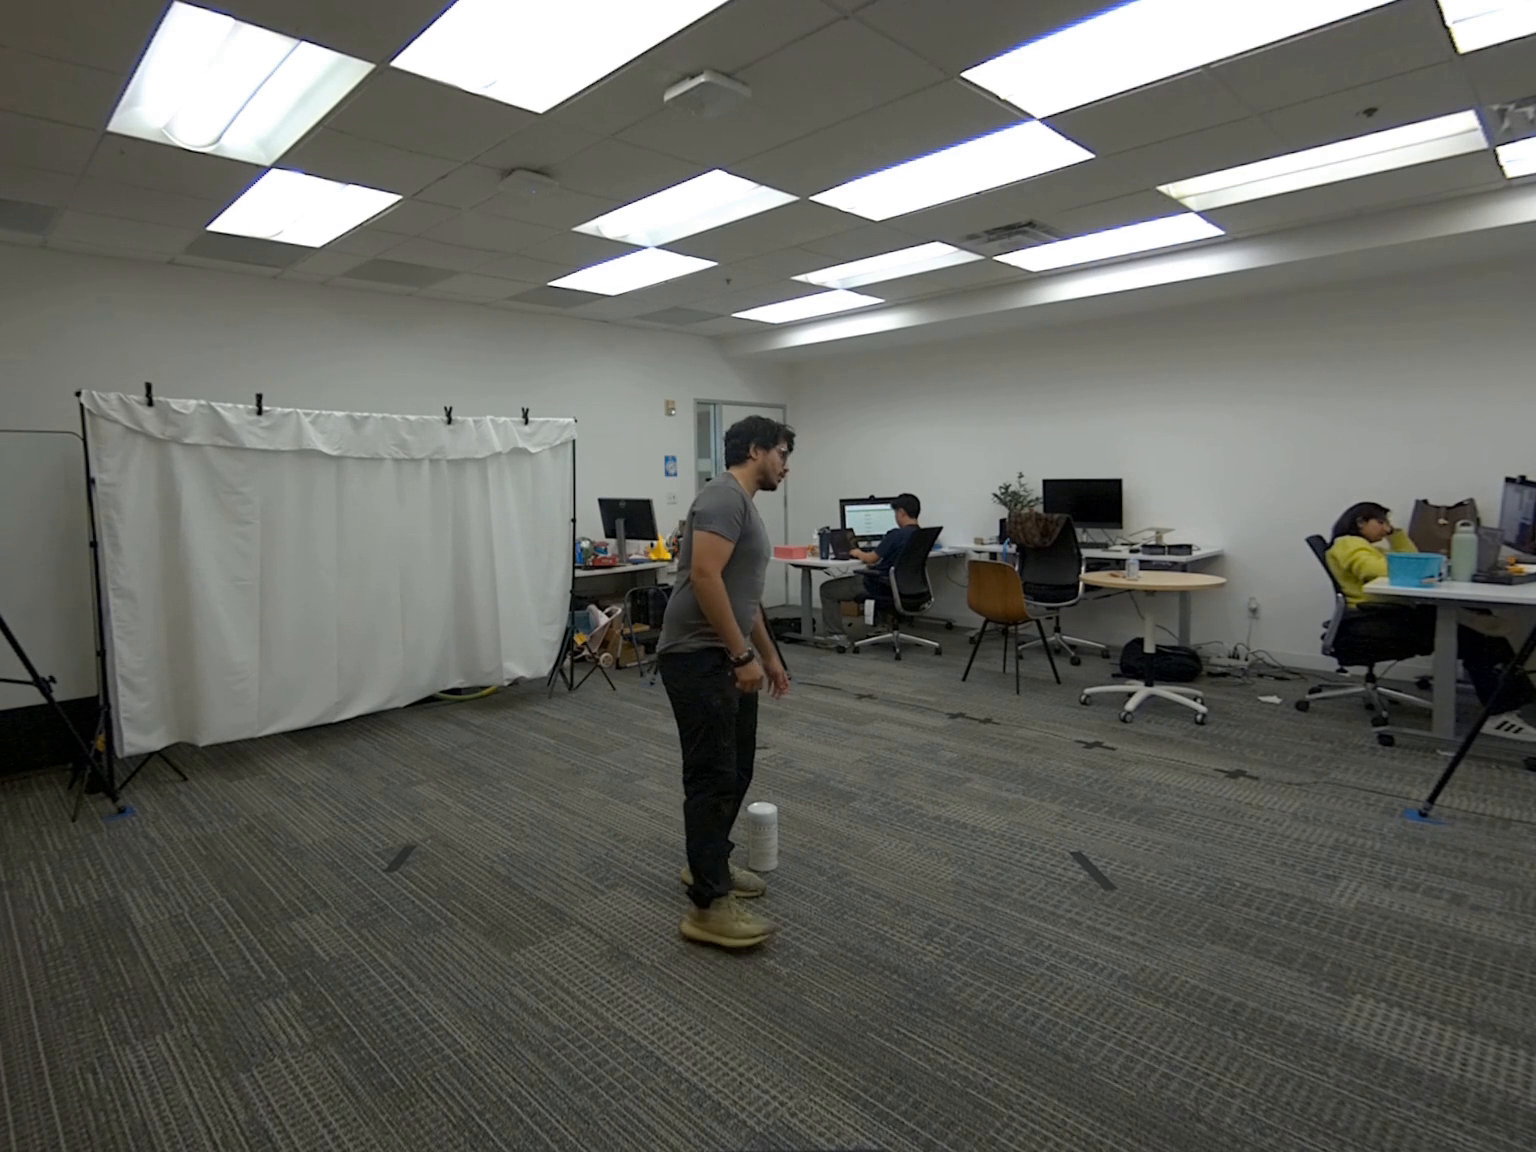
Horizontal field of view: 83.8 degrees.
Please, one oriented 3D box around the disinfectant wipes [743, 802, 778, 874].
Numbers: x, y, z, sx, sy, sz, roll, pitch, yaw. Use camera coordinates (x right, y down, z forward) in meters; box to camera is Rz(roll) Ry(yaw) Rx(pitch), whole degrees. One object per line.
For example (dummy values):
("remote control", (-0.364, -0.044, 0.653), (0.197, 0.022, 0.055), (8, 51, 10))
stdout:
("disinfectant wipes", (-0.012, 0.940, 3.076), (0.118, 0.217, 0.118), (-1, 3, -2))
